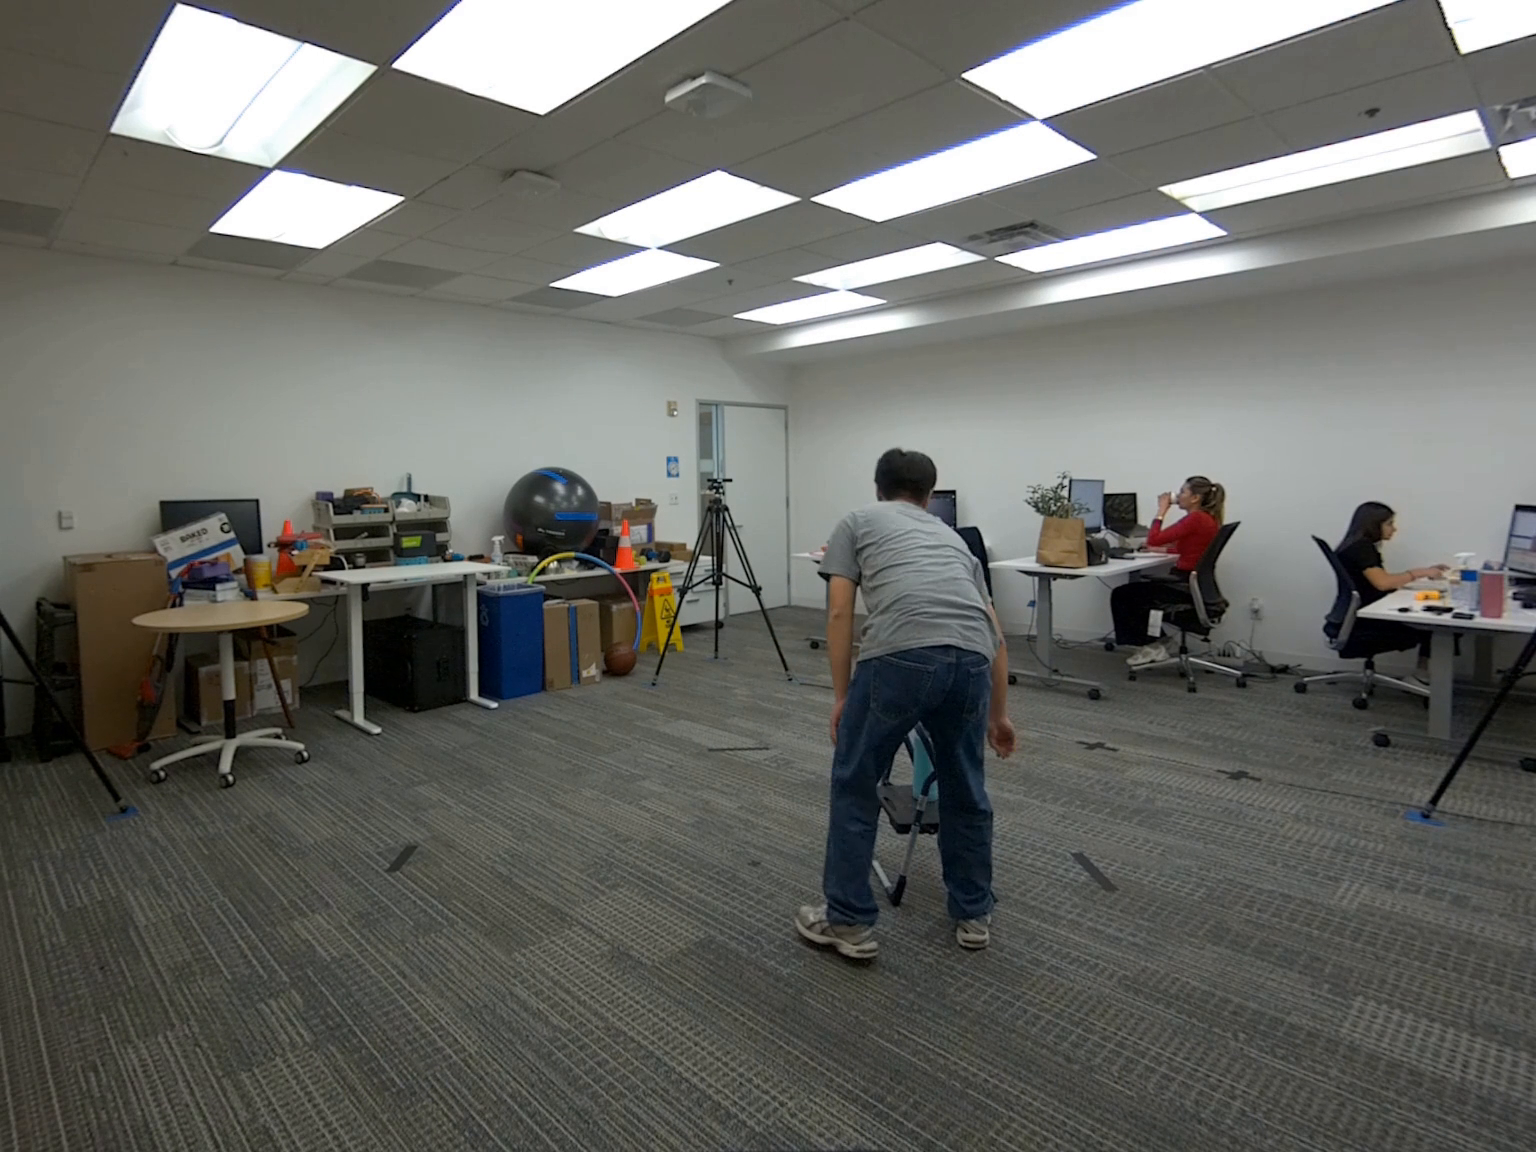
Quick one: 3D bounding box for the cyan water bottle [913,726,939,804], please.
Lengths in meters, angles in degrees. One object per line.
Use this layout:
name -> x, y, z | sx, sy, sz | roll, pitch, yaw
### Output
cyan water bottle -> 0.570, 0.642, 3.014 | 0.092, 0.283, 0.092 | 1, 2, -2
